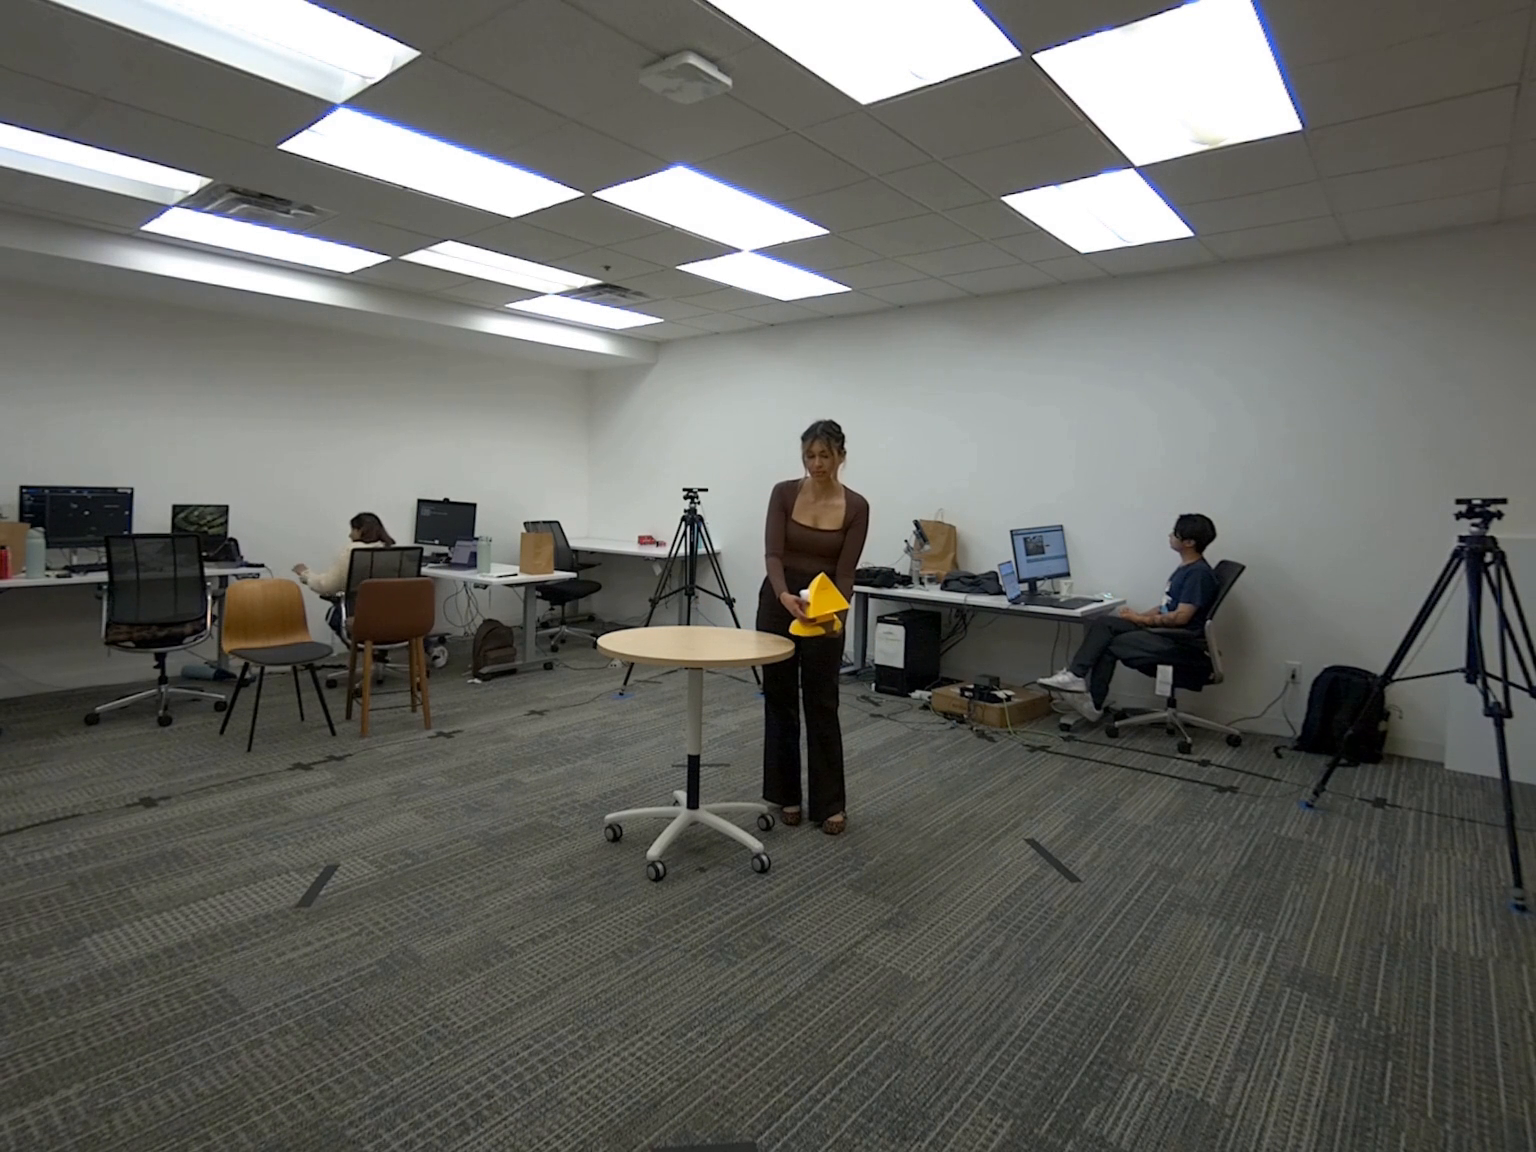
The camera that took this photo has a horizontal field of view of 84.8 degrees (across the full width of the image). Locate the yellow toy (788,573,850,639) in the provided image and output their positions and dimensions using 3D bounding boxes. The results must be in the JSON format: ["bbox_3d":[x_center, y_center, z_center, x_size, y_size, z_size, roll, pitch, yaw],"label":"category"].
[{"bbox_3d":[0.175,0.089,3.306,0.200,0.229,0.199,-11,8,-37],"label":"yellow toy"}]
